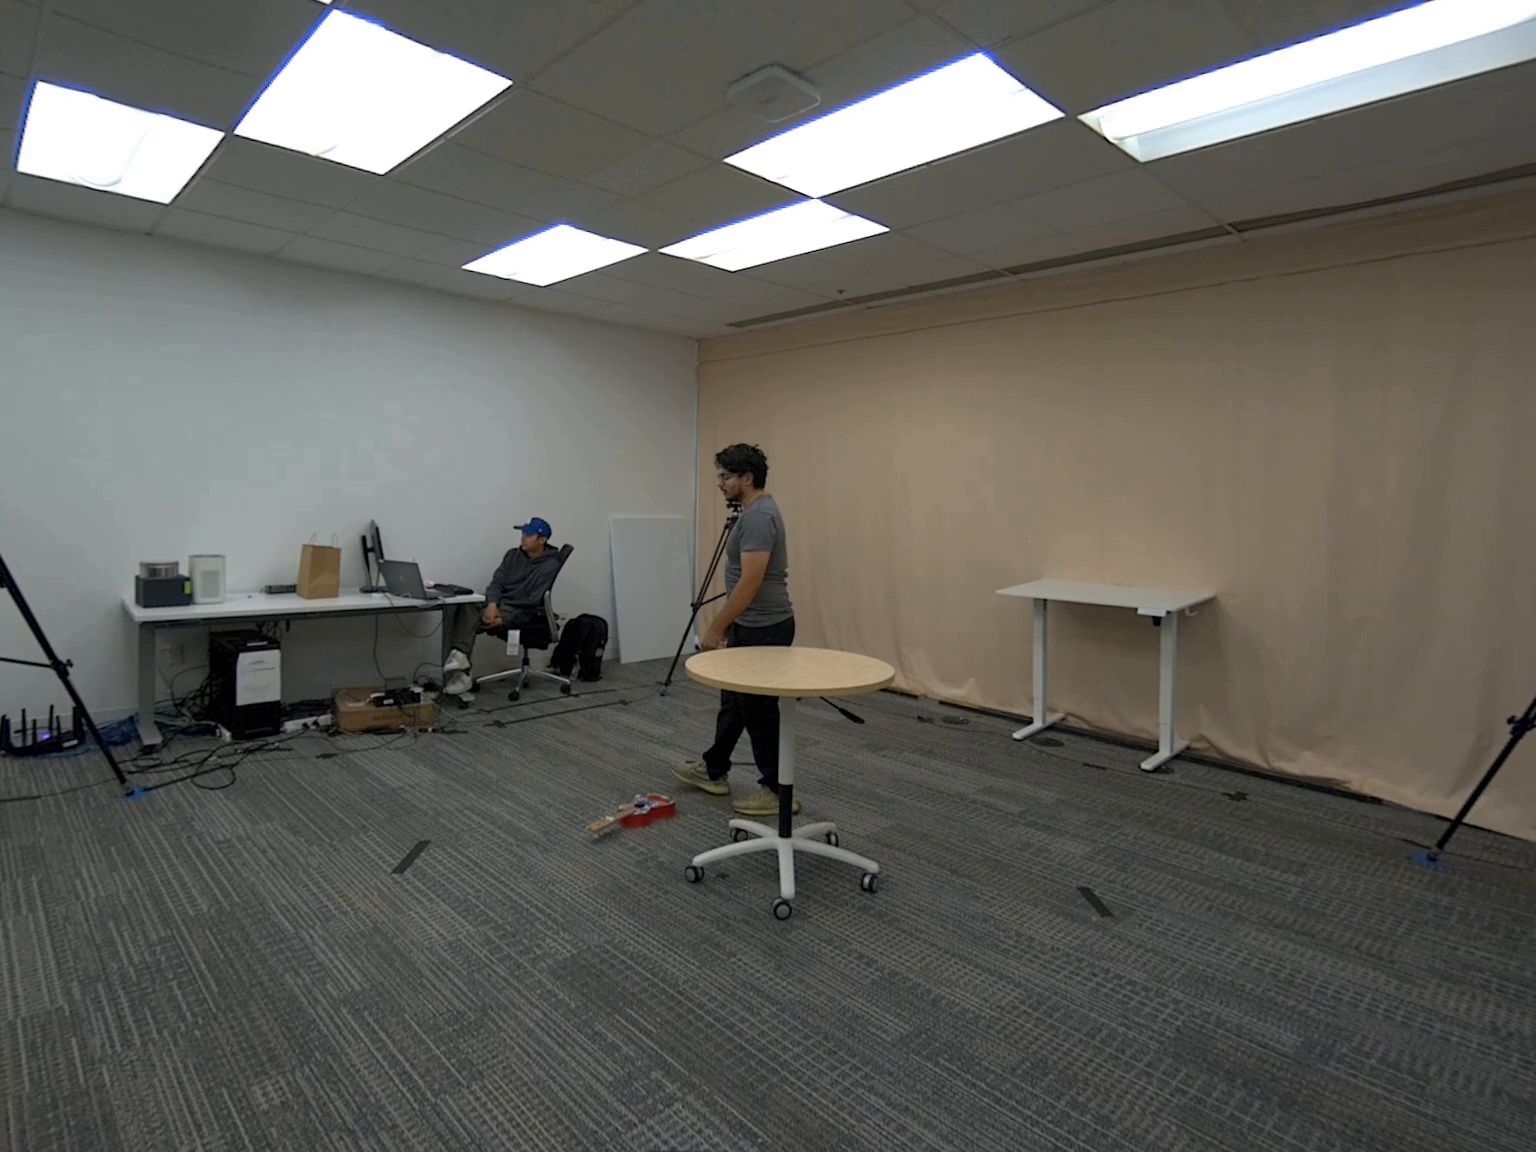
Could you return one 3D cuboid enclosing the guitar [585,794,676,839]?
[{"bbox_3d":[-0.625,1.020,3.585,0.198,0.070,0.487,5,5,38],"label":"guitar"}]
